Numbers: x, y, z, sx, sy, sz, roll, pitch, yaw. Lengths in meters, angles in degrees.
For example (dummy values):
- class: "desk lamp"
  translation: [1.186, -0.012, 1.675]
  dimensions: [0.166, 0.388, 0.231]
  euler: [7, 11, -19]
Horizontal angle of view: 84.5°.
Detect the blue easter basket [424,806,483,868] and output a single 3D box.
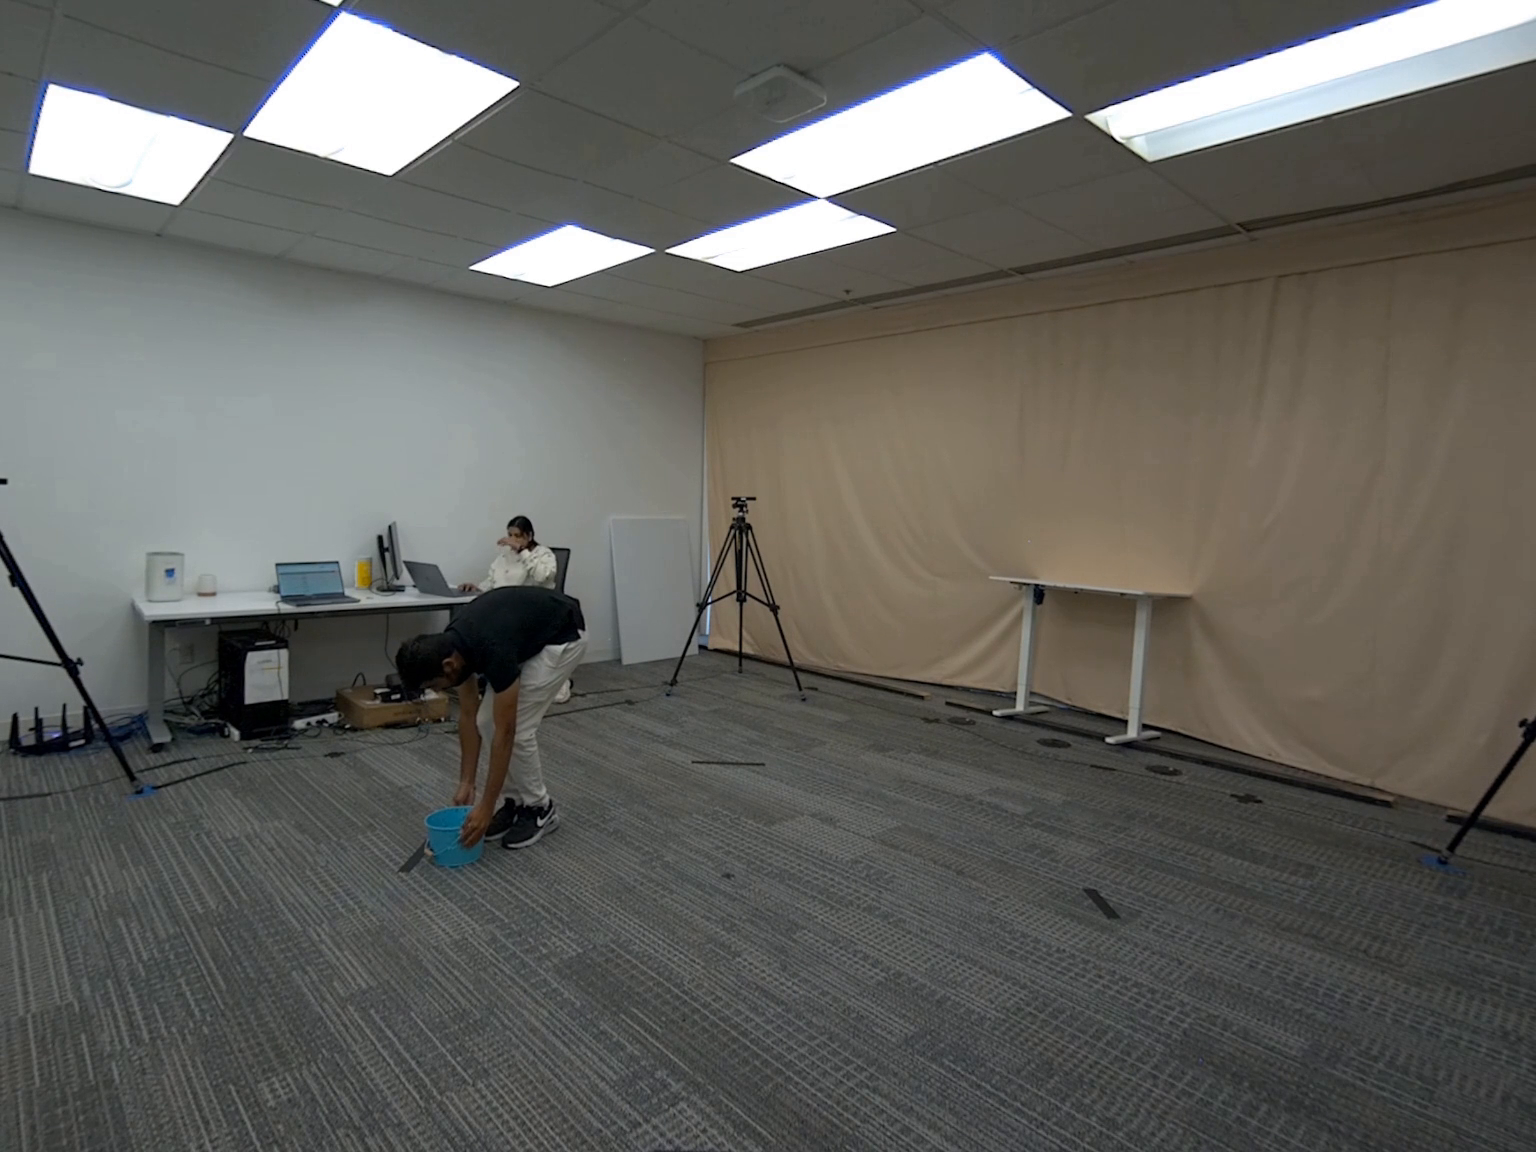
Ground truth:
- class: "blue easter basket"
  translation: [-1.206, 1.002, 3.222]
  dimensions: [0.243, 0.155, 0.244]
  euler: [-2, 5, -1]
